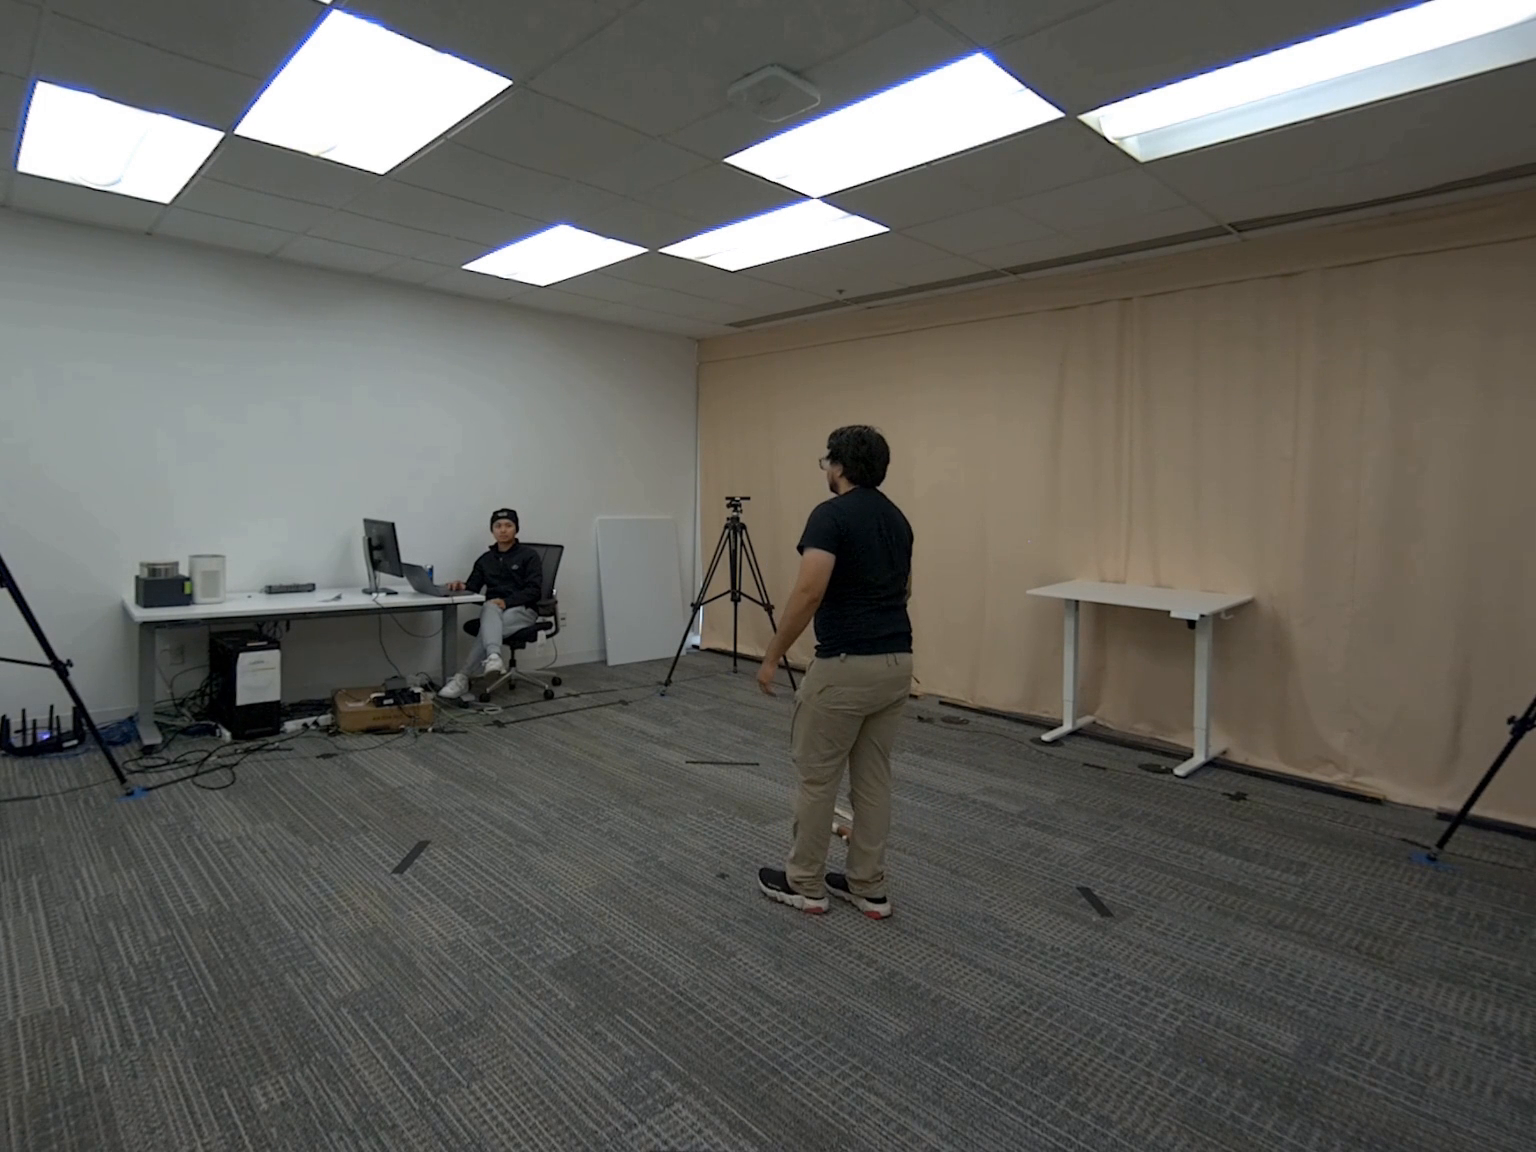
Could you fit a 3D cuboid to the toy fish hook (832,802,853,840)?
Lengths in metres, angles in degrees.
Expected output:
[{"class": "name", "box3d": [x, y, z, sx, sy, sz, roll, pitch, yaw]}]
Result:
[{"class": "toy fish hook", "box3d": [0.308, 1.058, 3.580, 0.220, 0.048, 0.518, -1, 6, -28]}]
